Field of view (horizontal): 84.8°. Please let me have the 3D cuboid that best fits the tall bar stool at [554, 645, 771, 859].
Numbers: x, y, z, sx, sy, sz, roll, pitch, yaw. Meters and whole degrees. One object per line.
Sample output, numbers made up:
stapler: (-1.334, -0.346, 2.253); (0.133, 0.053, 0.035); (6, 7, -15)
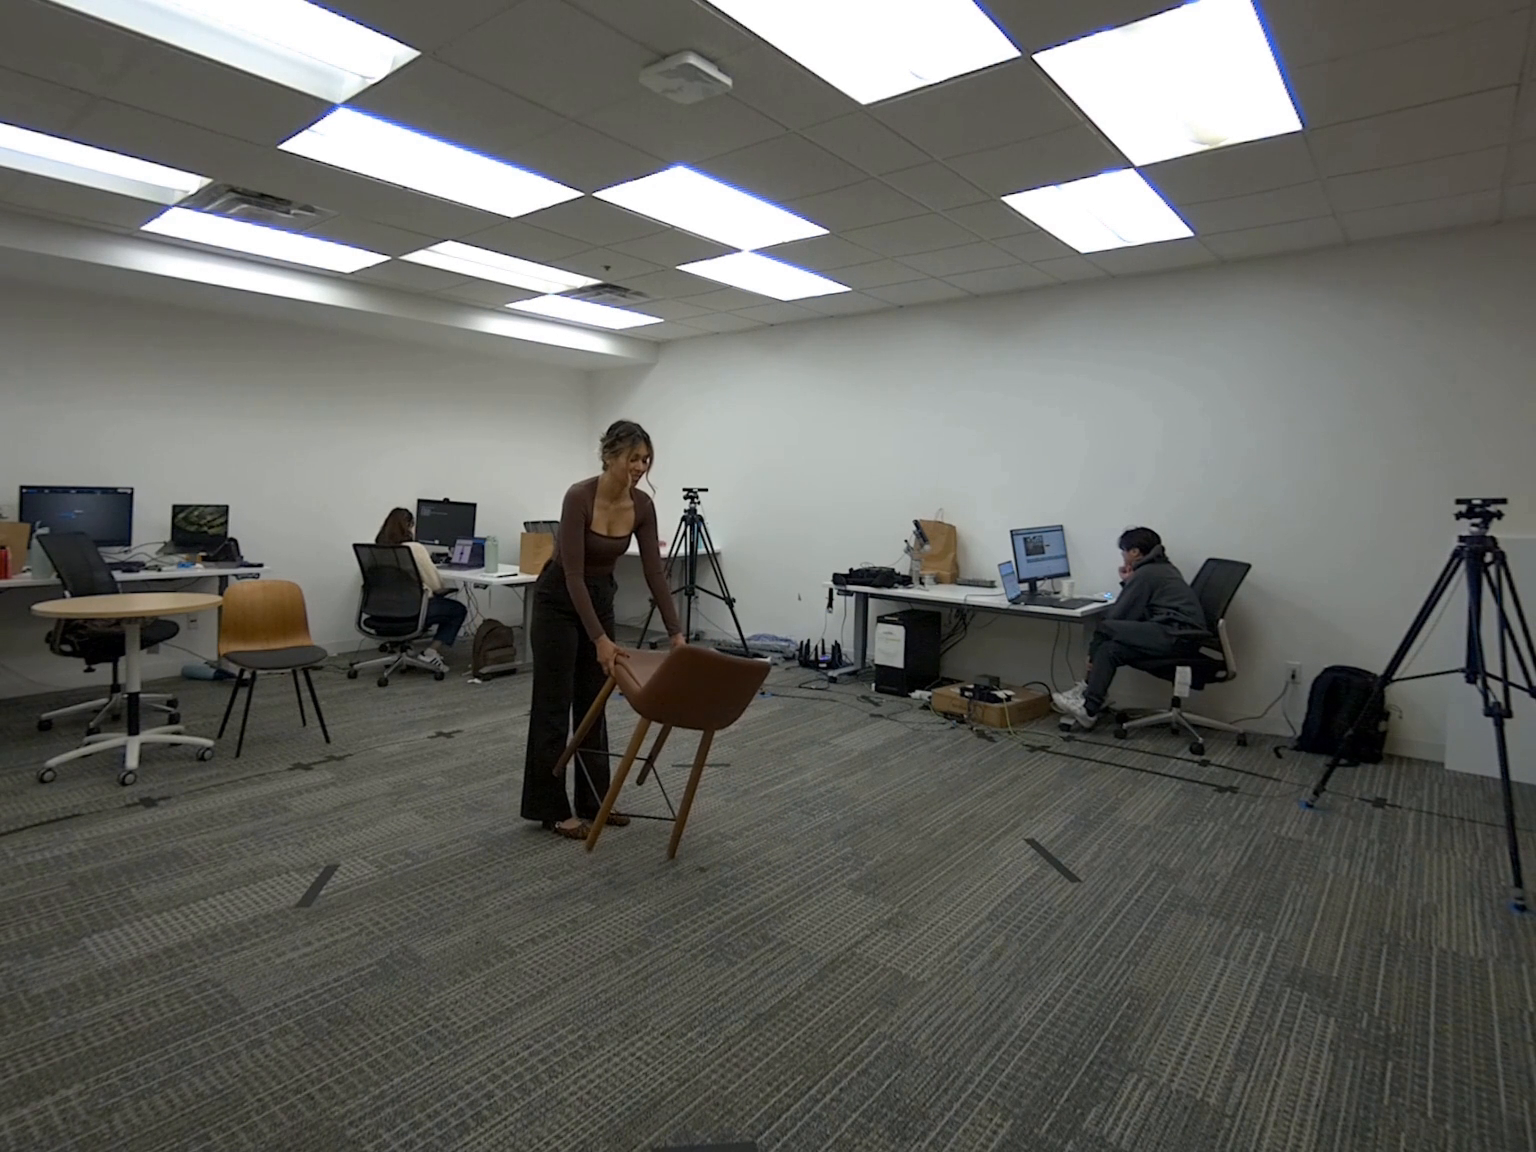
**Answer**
tall bar stool: (-0.417, 0.547, 3.183); (0.441, 0.884, 0.487); (16, 18, -33)
